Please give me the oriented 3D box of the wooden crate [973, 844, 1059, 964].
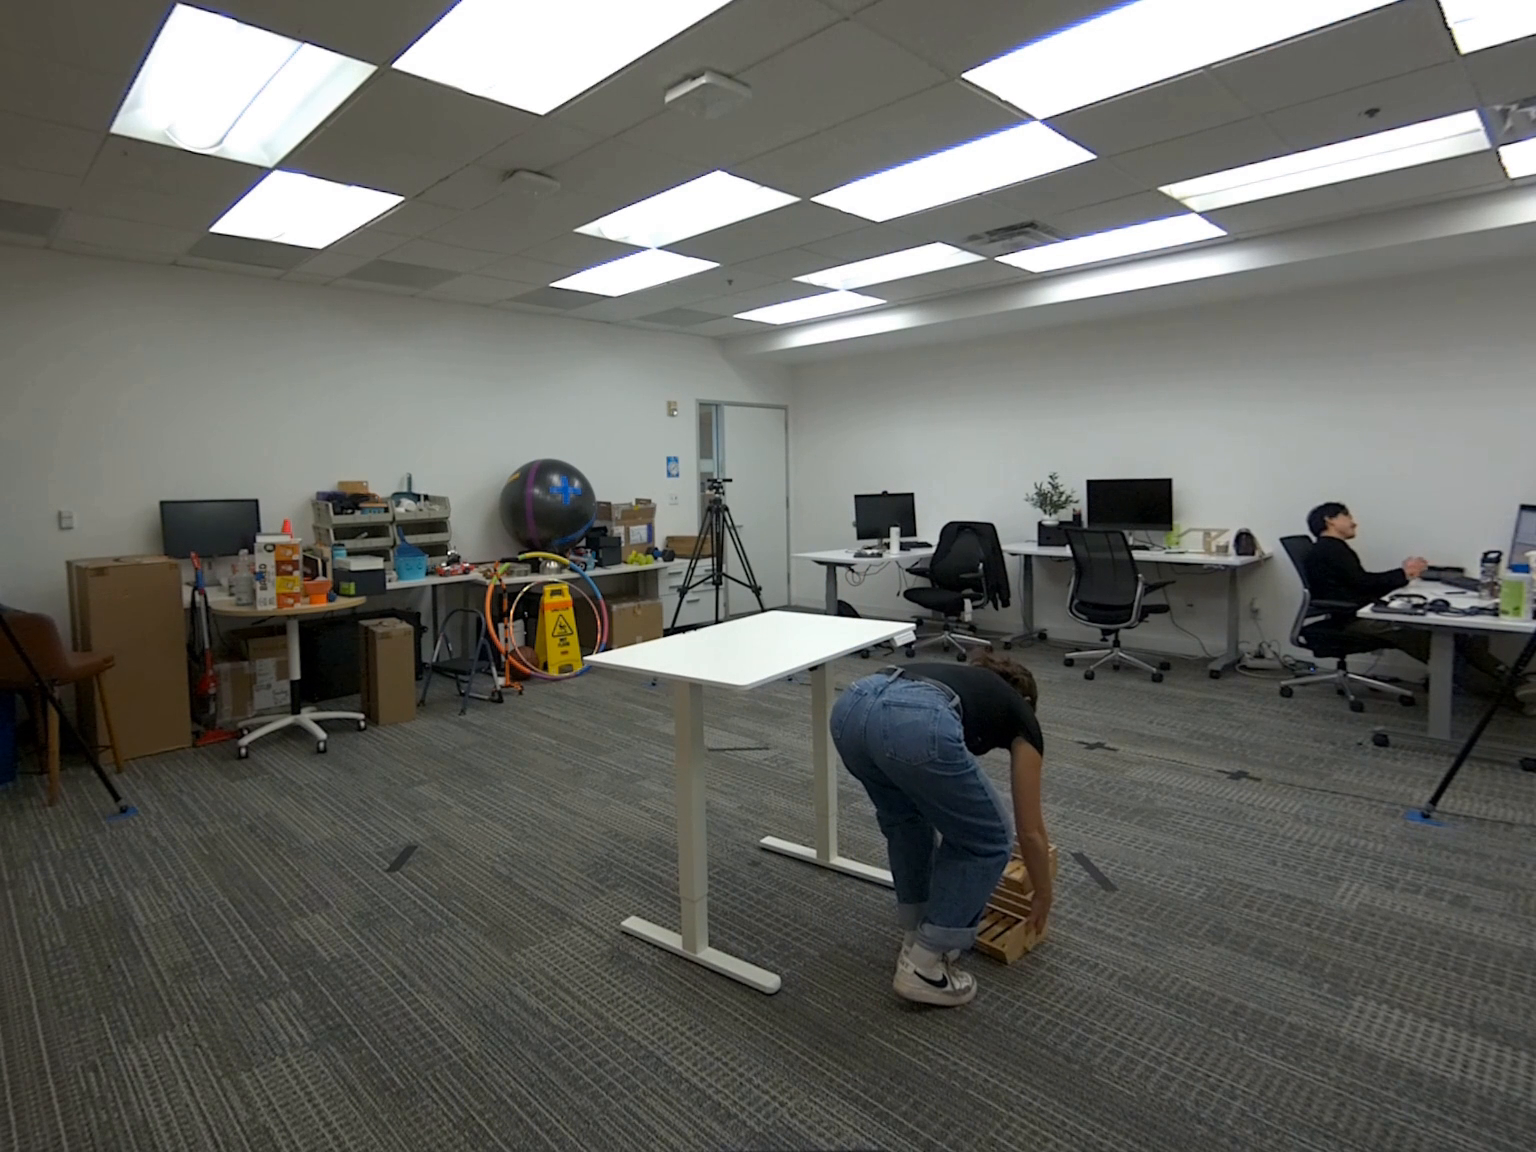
[{"bbox_3d":[0.677,0.952,2.622,0.294,0.272,0.334,-5,7,-43],"label":"wooden crate"}]
